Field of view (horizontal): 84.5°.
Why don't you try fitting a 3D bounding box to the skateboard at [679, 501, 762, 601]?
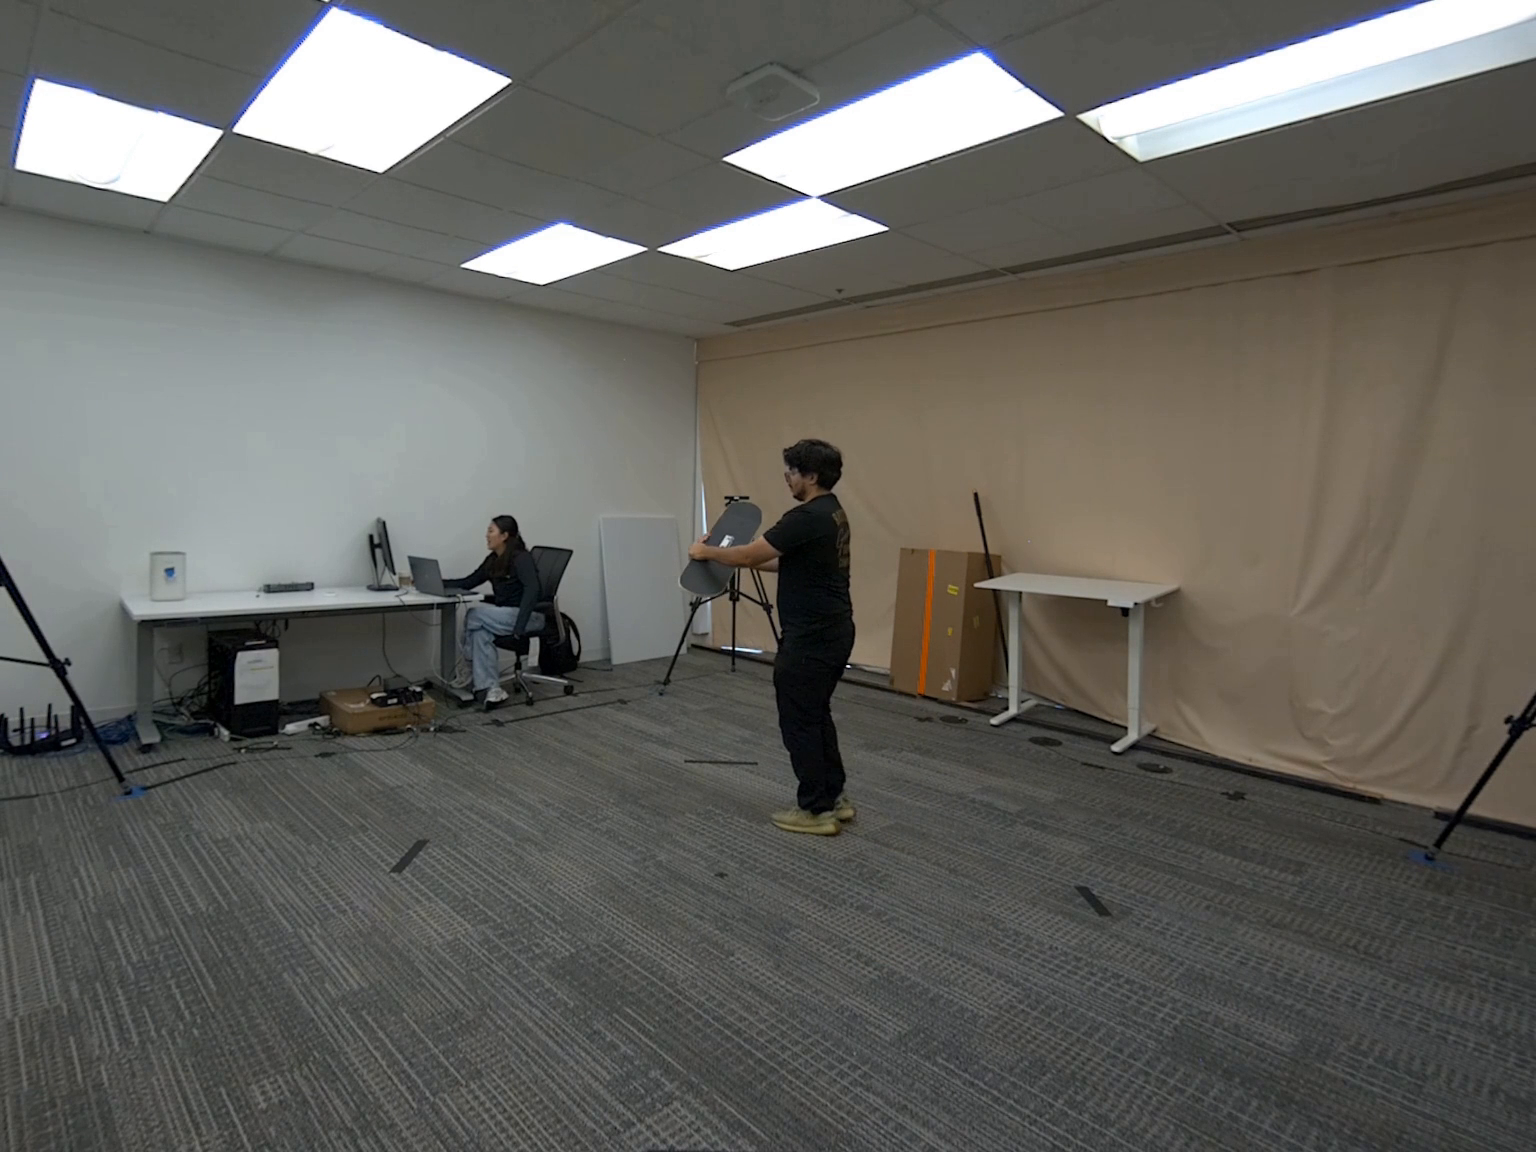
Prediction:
[{"bbox_3d":[-0.205,-0.093,3.714,0.195,0.108,0.790,18,37,9],"label":"skateboard"}]
